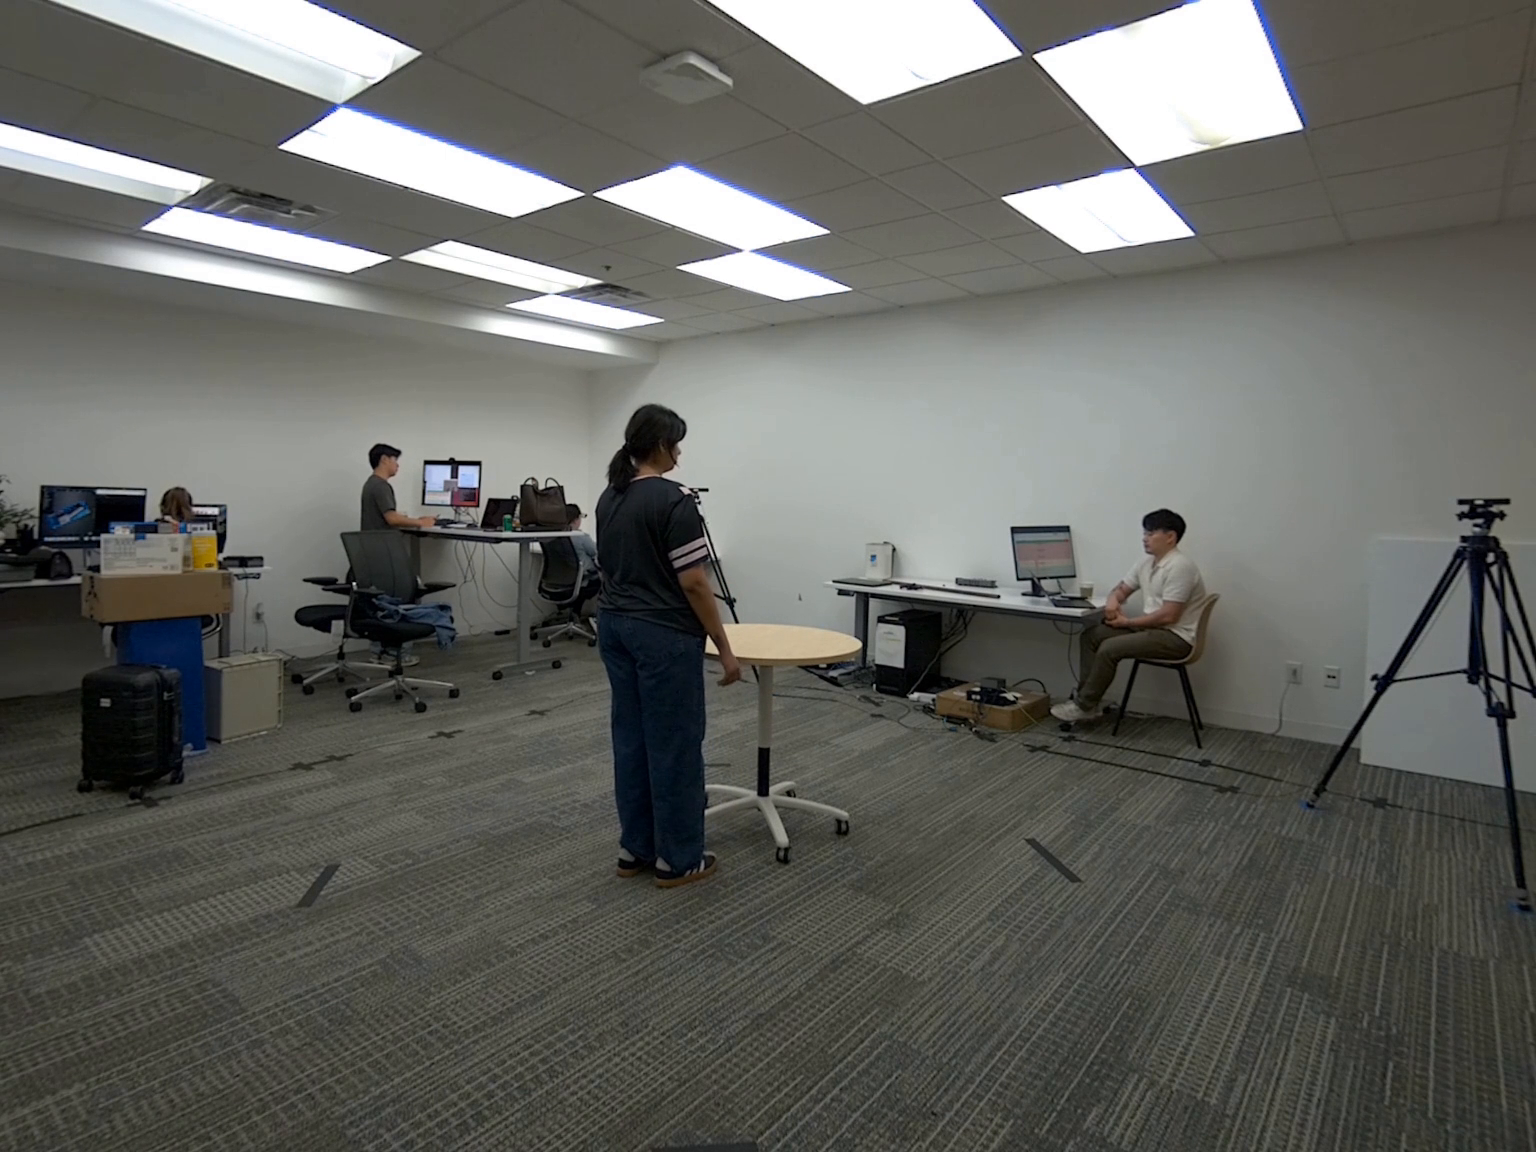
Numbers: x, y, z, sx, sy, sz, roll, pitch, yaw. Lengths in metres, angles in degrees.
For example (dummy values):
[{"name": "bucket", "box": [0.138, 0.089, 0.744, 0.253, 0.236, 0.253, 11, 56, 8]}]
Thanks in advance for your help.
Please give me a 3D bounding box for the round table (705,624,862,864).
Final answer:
[{"name": "round table", "box": [-0.036, 0.642, 3.479, 0.784, 0.784, 0.789, 1, 4, -2]}]
